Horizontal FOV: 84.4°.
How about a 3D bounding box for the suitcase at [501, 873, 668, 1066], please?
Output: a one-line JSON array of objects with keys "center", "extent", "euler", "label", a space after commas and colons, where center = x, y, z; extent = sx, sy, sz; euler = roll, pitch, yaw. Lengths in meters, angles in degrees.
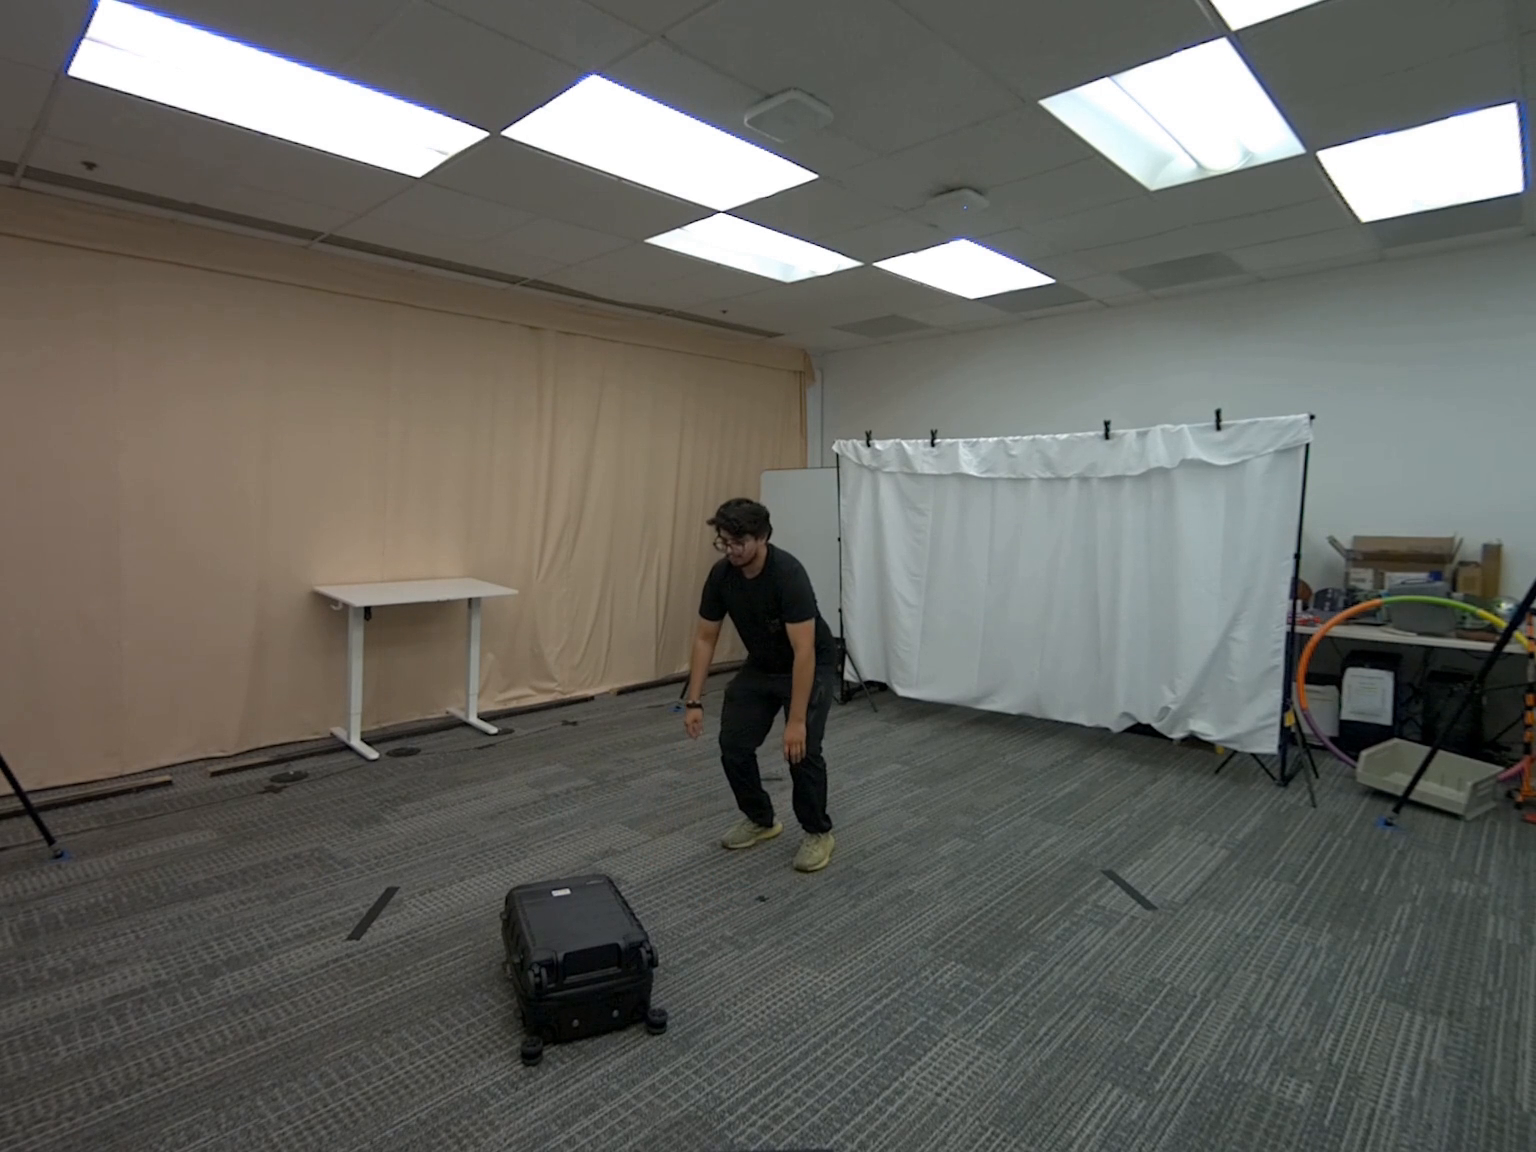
[{"center": [-0.635, 1.055, 2.594], "extent": [0.375, 0.256, 1.004], "euler": [-3, 7, -24], "label": "suitcase"}]
